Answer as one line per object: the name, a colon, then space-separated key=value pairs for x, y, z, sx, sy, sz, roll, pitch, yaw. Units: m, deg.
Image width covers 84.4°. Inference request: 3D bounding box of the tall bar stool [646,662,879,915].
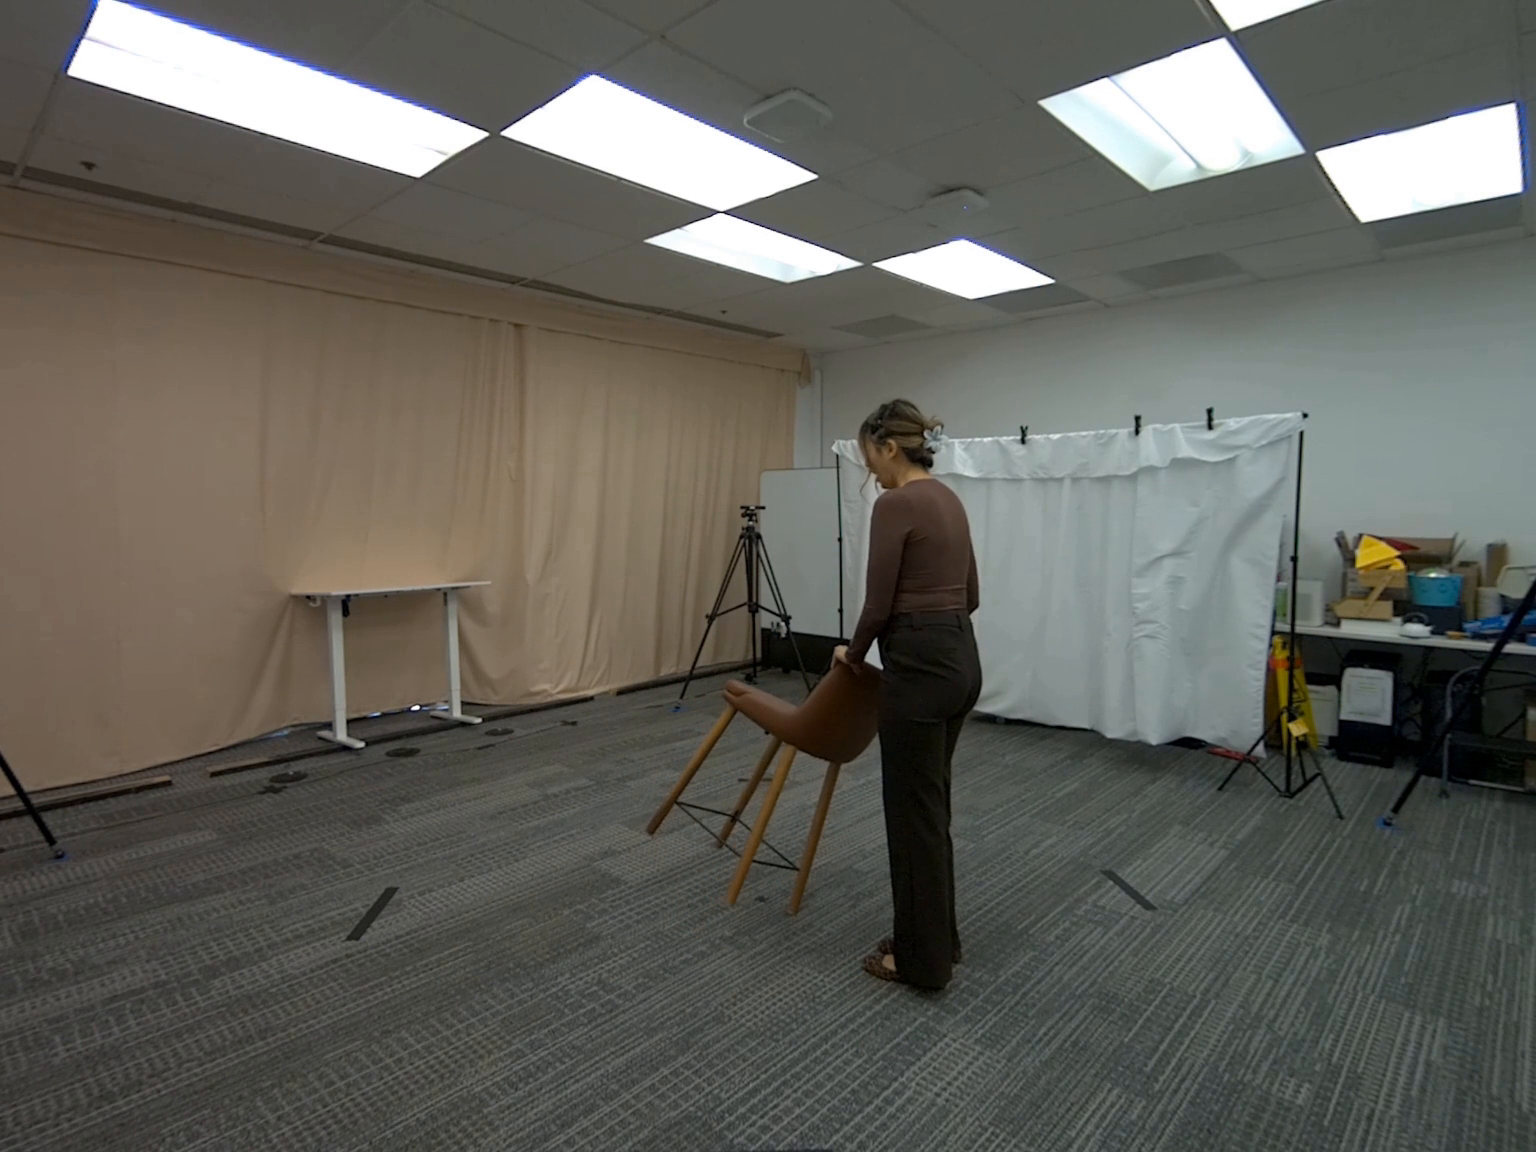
tall bar stool: x=0.044 y=0.643 z=2.926 sx=0.485 sy=0.890 sz=0.440 roll=27 pitch=-2 yaw=45
